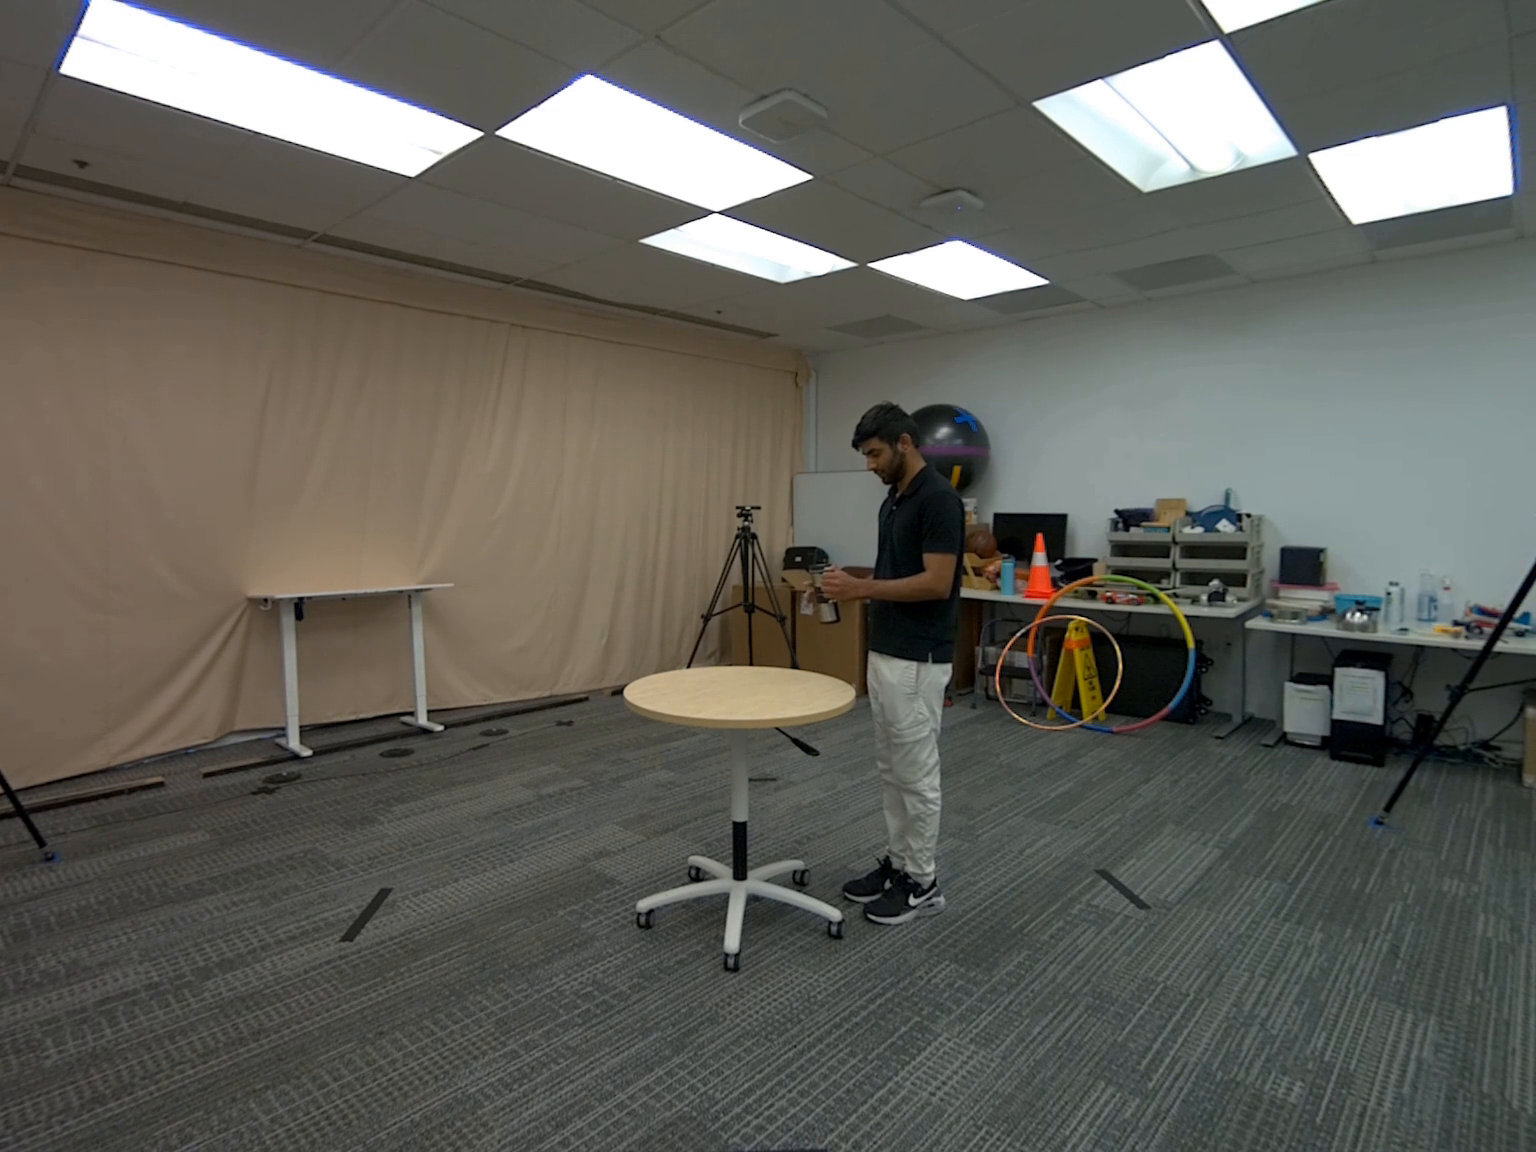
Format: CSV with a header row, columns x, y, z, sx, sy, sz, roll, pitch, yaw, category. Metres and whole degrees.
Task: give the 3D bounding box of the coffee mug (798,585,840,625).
x,y,z,sx,sy,sz,roll,pitch,yaw,category
0.193,0.066,2.845,0.089,0.202,0.120,-3,3,18,coffee mug
